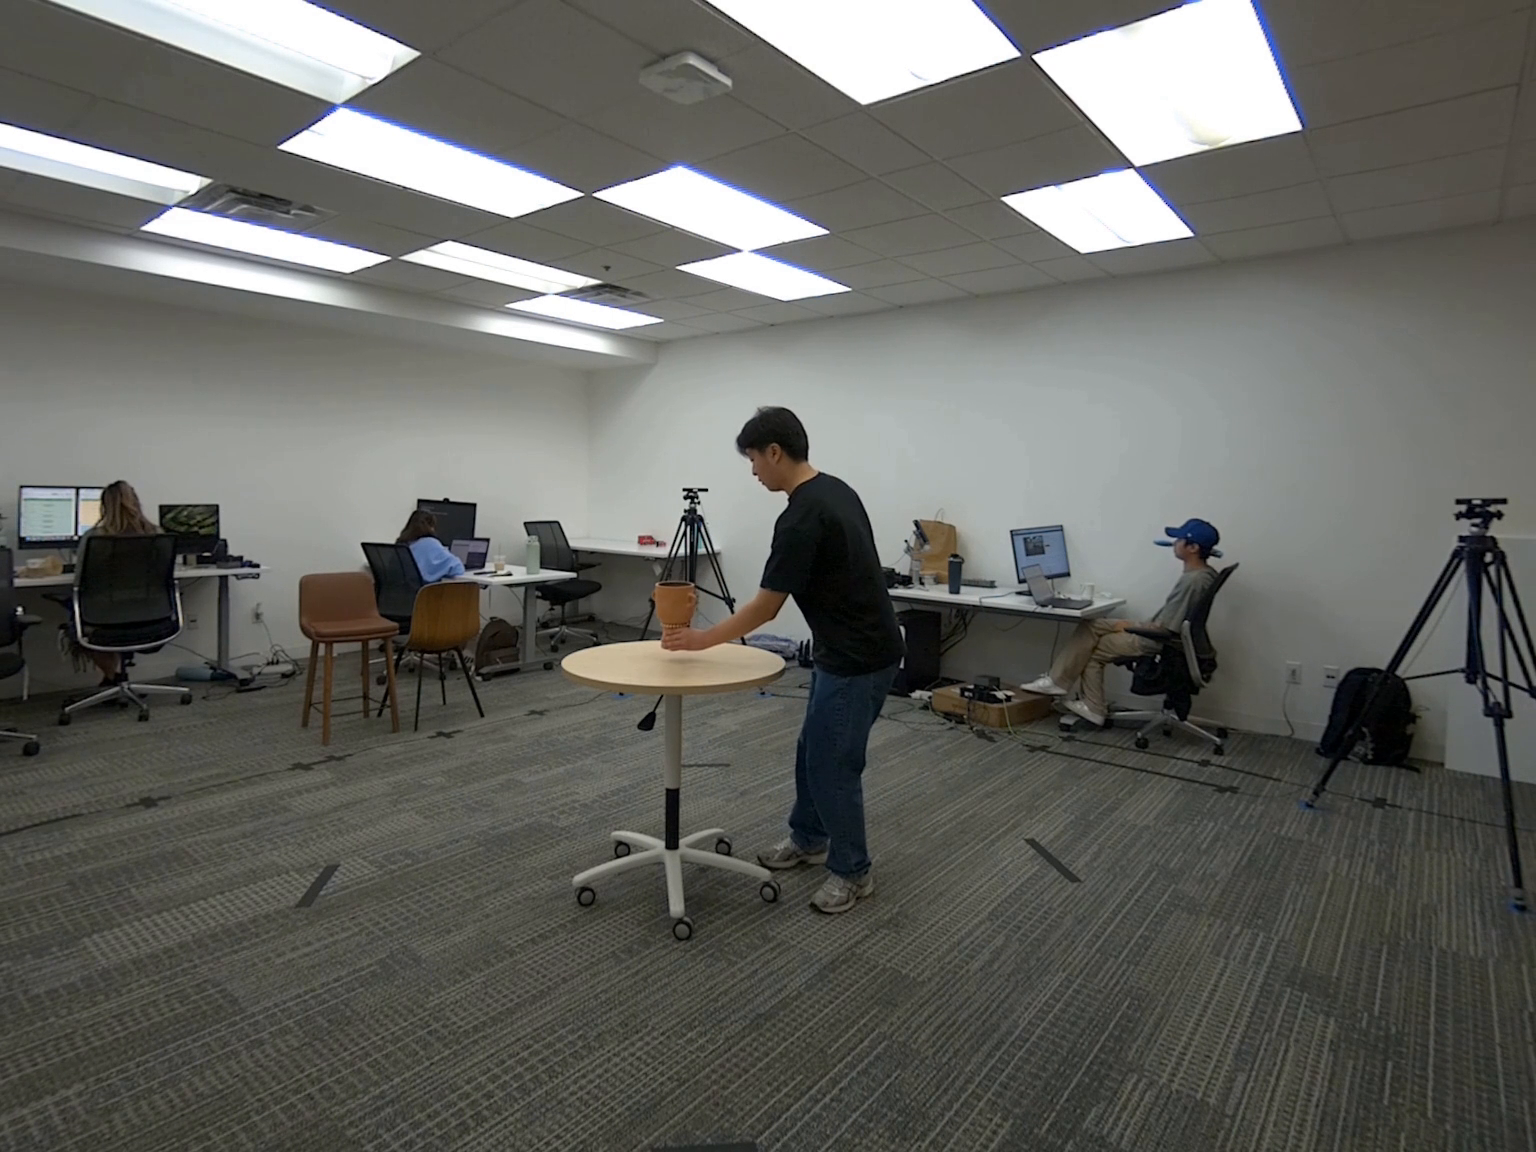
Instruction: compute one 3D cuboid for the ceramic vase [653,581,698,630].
[{"bbox_3d":[-0.323,0.132,2.930,0.132,0.218,0.162,-1,7,-17],"label":"ceramic vase"}]
